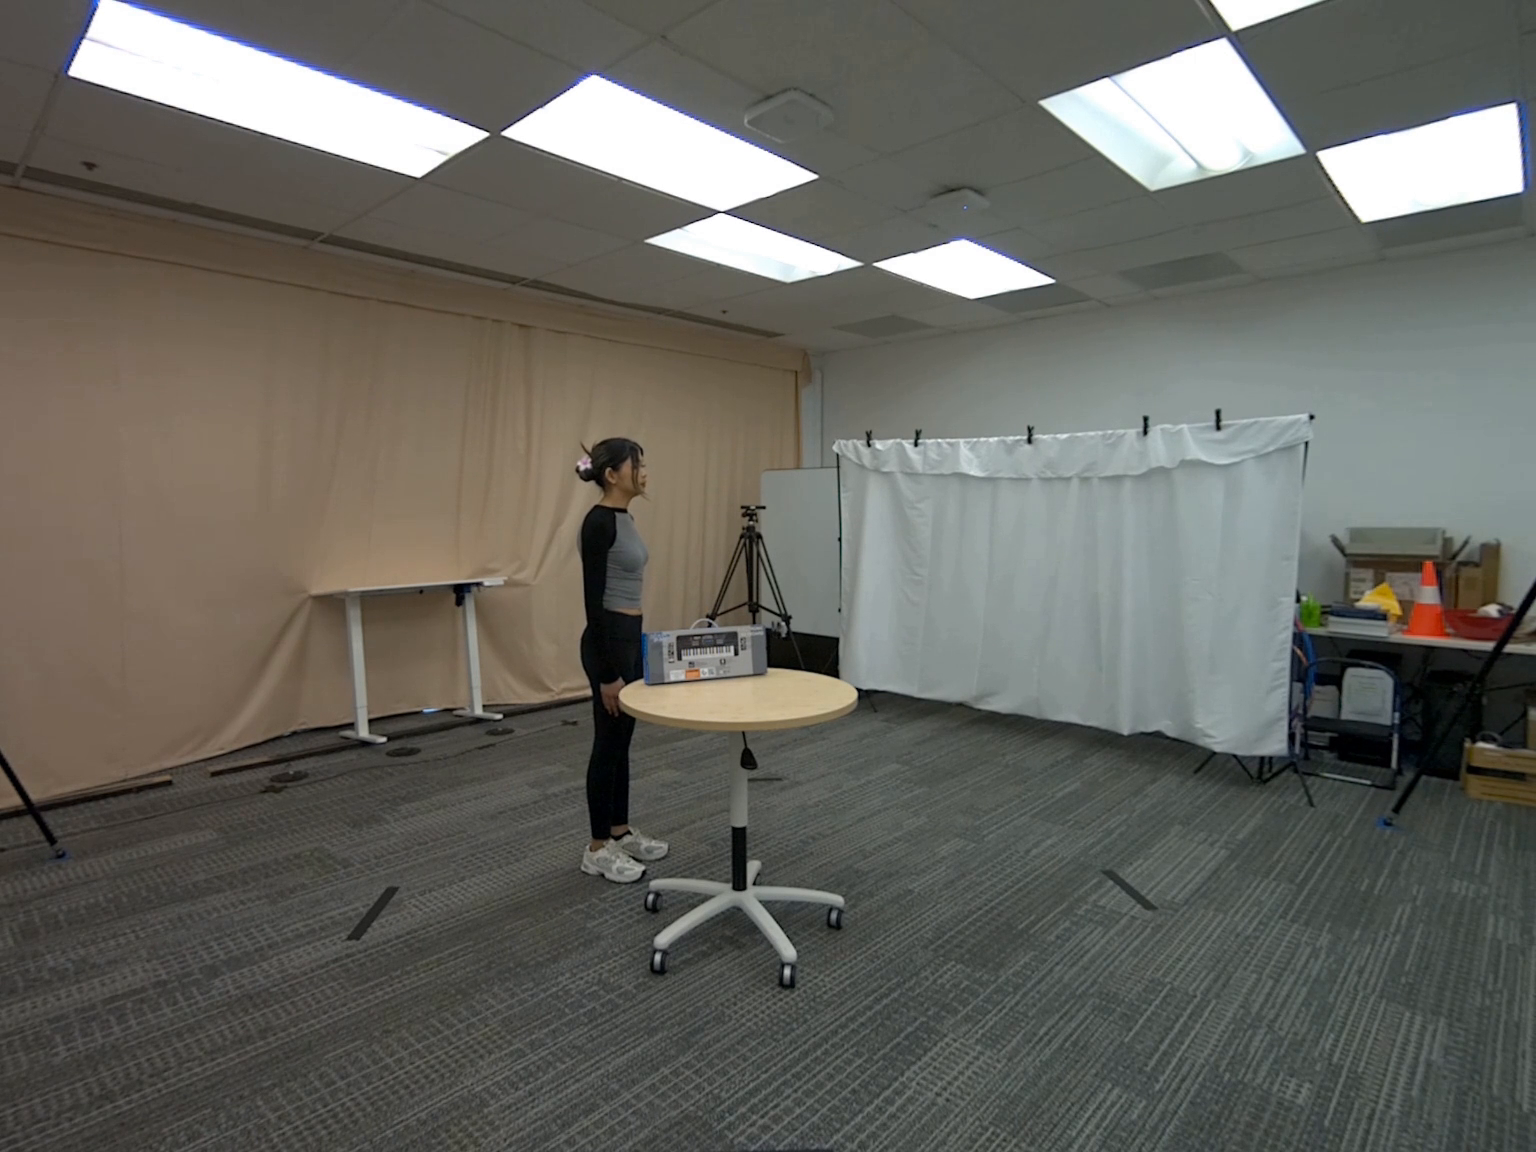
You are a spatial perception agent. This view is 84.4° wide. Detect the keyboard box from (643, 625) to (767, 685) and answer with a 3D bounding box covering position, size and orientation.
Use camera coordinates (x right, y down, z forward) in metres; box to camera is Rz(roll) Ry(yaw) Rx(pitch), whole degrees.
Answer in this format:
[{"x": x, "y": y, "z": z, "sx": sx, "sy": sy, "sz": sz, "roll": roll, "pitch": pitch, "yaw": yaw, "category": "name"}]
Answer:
[{"x": -0.217, "y": 0.270, "z": 2.910, "sx": 0.428, "sy": 0.176, "sz": 0.060, "roll": -3, "pitch": -2, "yaw": -21, "category": "keyboard box"}]
